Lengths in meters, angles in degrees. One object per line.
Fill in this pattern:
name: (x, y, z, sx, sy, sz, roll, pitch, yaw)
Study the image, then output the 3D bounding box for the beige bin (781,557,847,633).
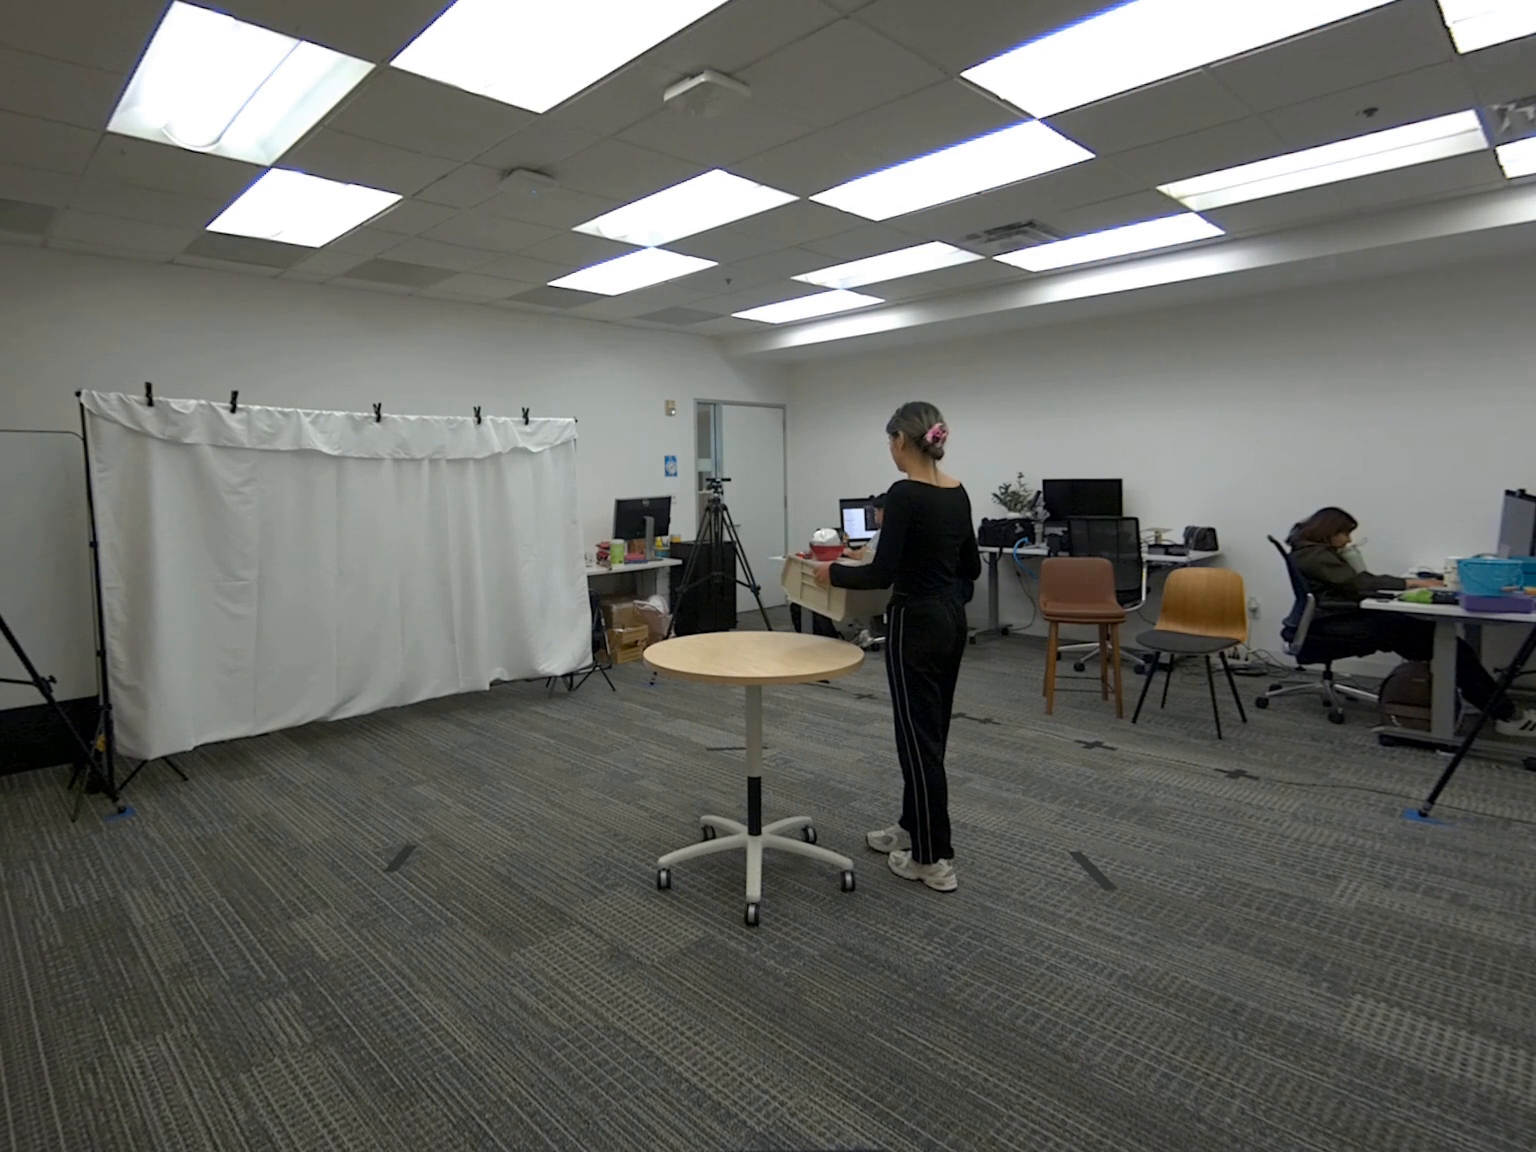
beige bin: (0.326, 0.022, 3.294, 0.412, 0.187, 0.391, -4, 16, -33)
